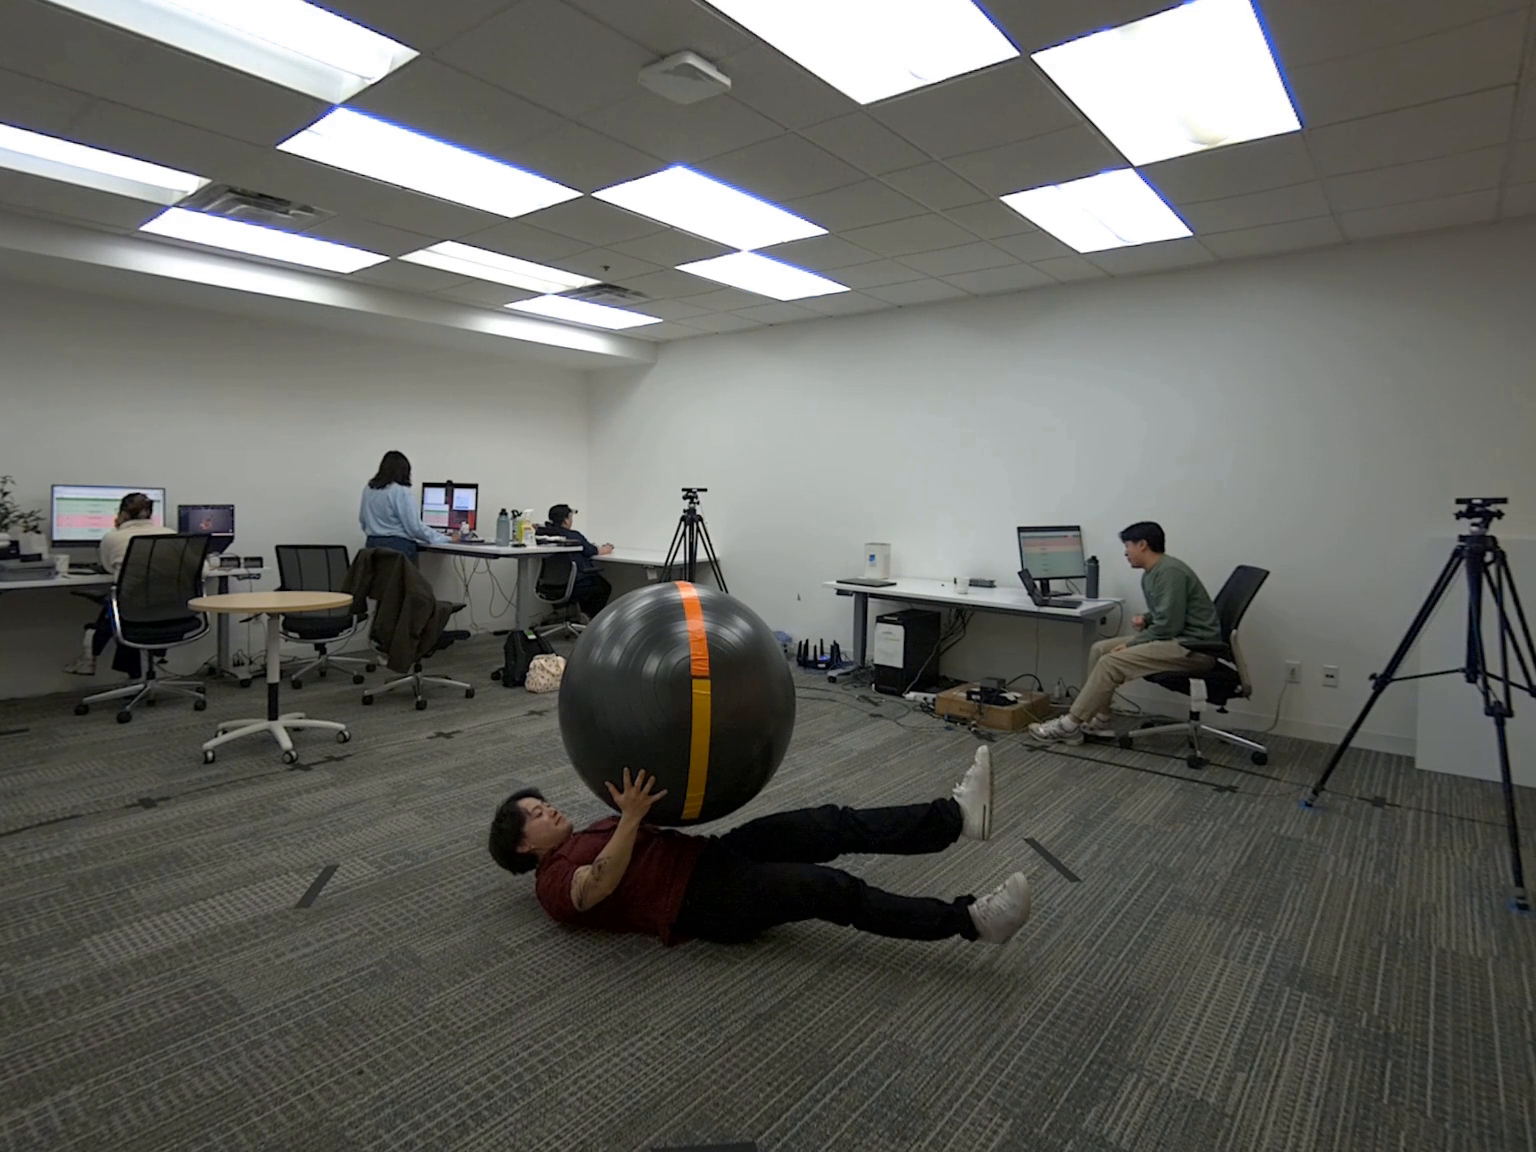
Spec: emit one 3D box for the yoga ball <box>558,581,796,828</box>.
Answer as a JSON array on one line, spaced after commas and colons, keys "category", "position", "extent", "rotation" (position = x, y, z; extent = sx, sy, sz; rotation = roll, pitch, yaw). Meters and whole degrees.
[{"category": "yoga ball", "position": [-0.296, 0.402, 2.722], "extent": [0.757, 0.755, 0.762], "rotation": [1, 4, -2]}]
